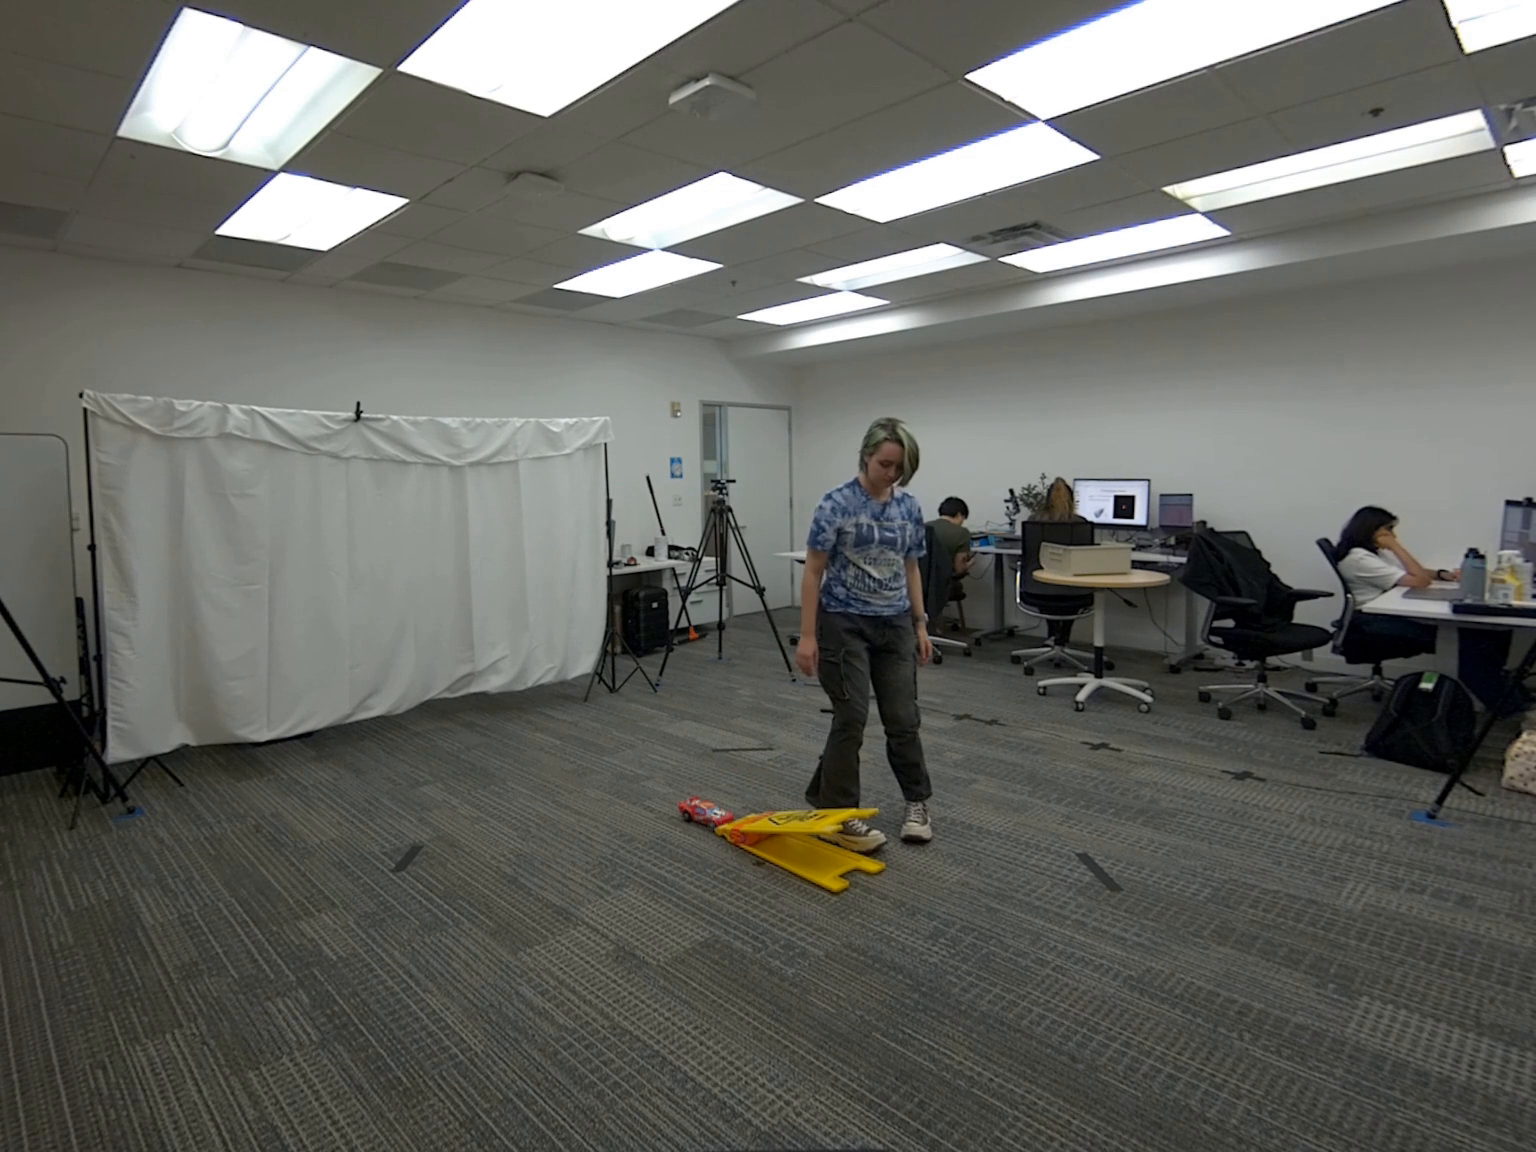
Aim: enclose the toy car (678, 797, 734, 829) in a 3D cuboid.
[{"bbox_3d":[-0.260,0.970,3.506,0.264,0.082,0.127,18,16,41],"label":"toy car"}]
